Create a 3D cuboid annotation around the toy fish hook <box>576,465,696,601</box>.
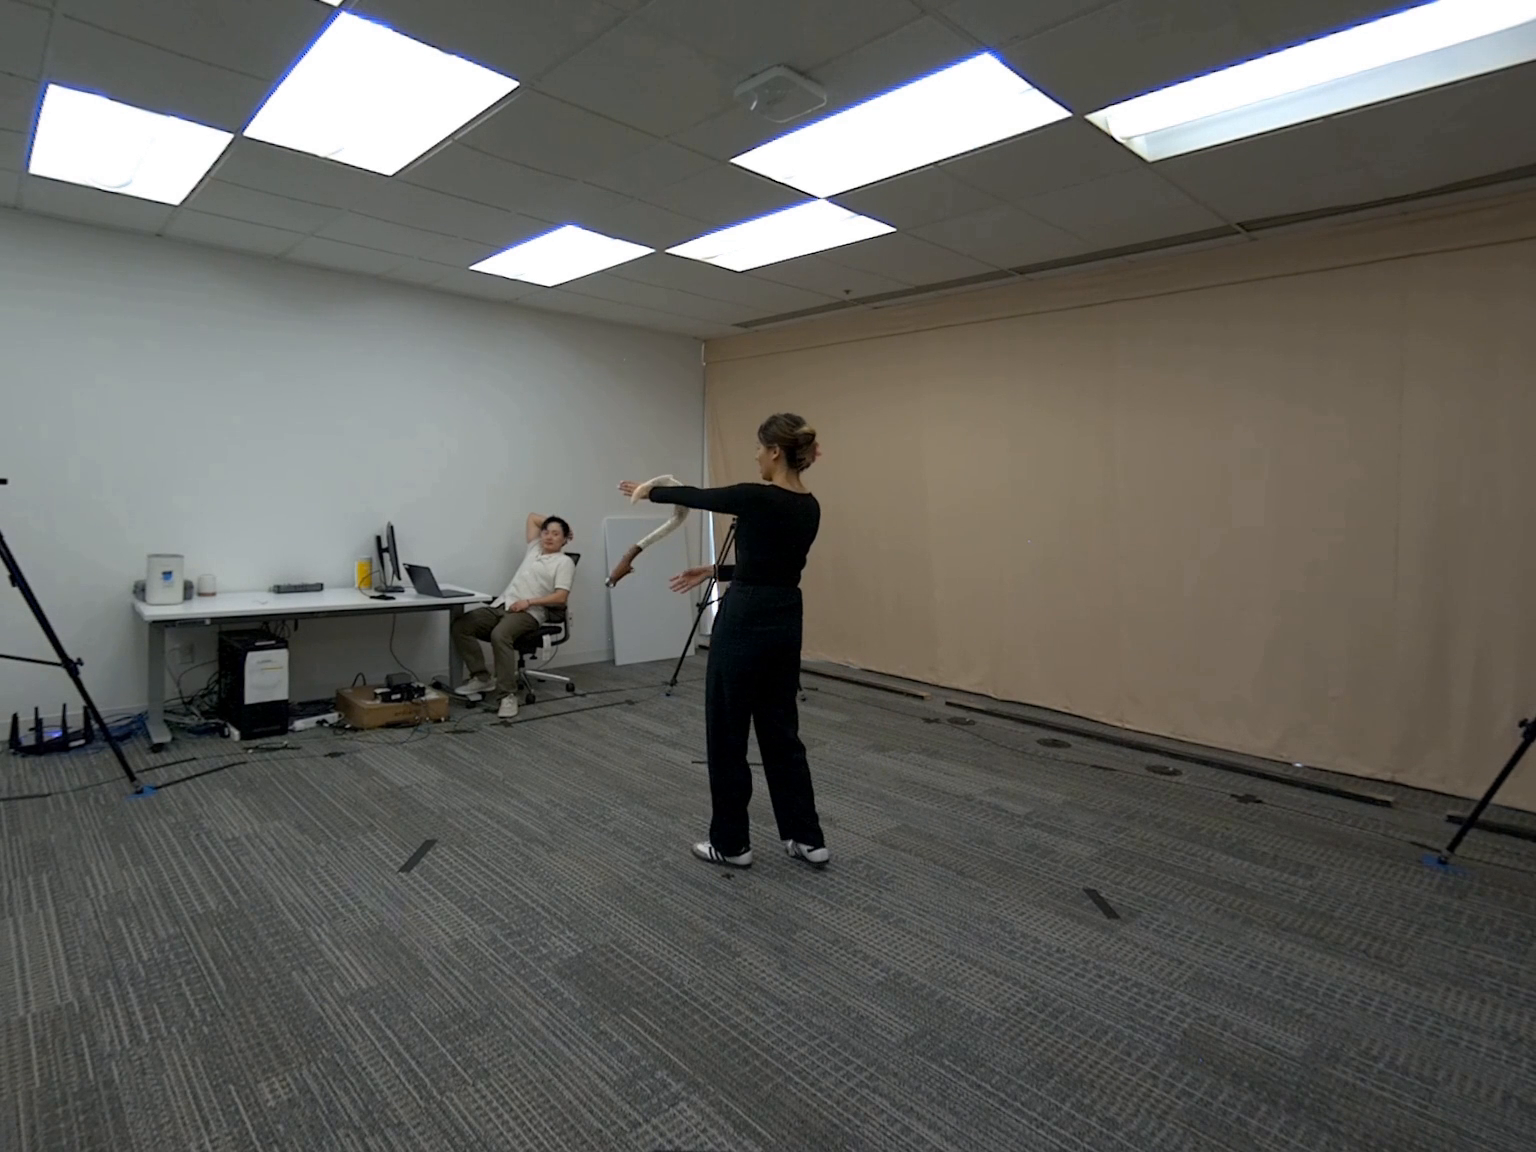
[{"bbox_3d":[-0.505,-0.176,3.347,0.226,0.507,0.048,36,-13,6],"label":"toy fish hook"}]
